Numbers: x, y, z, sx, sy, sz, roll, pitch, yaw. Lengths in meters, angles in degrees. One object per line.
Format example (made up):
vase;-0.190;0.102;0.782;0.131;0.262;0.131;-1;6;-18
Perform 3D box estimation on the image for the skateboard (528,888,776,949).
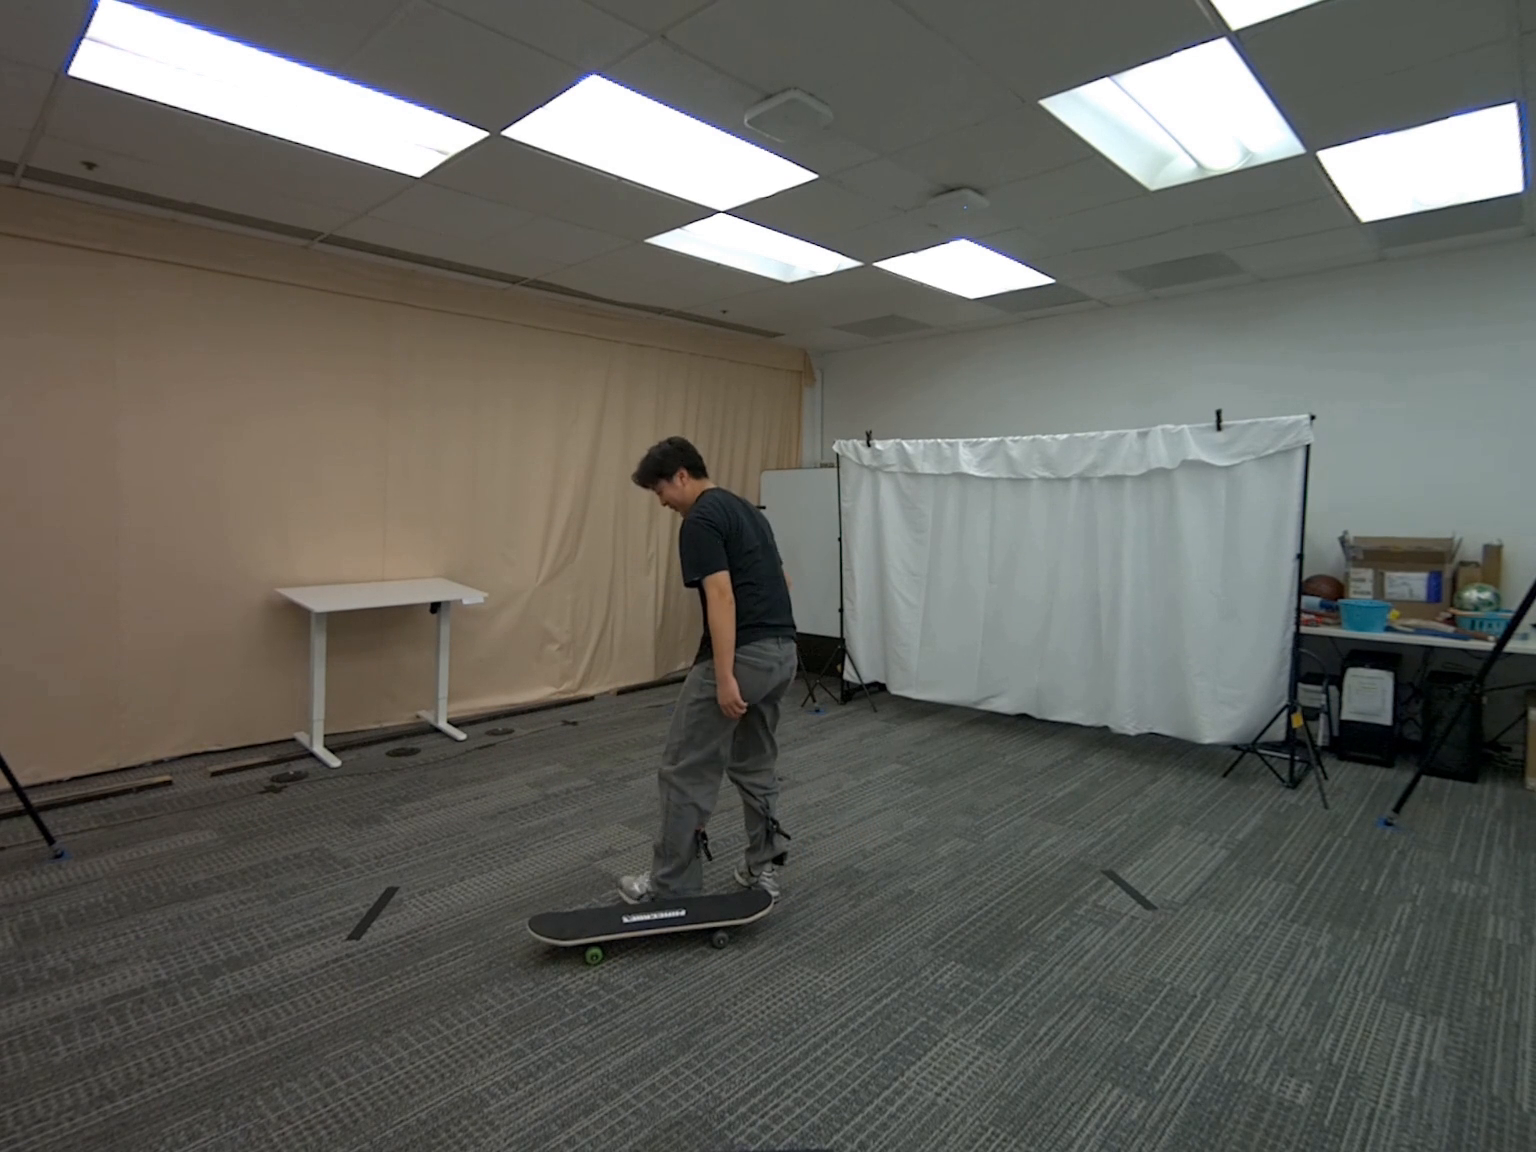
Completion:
skateboard;-0.361;1.121;2.674;0.776;0.110;0.196;-1;4;-12
